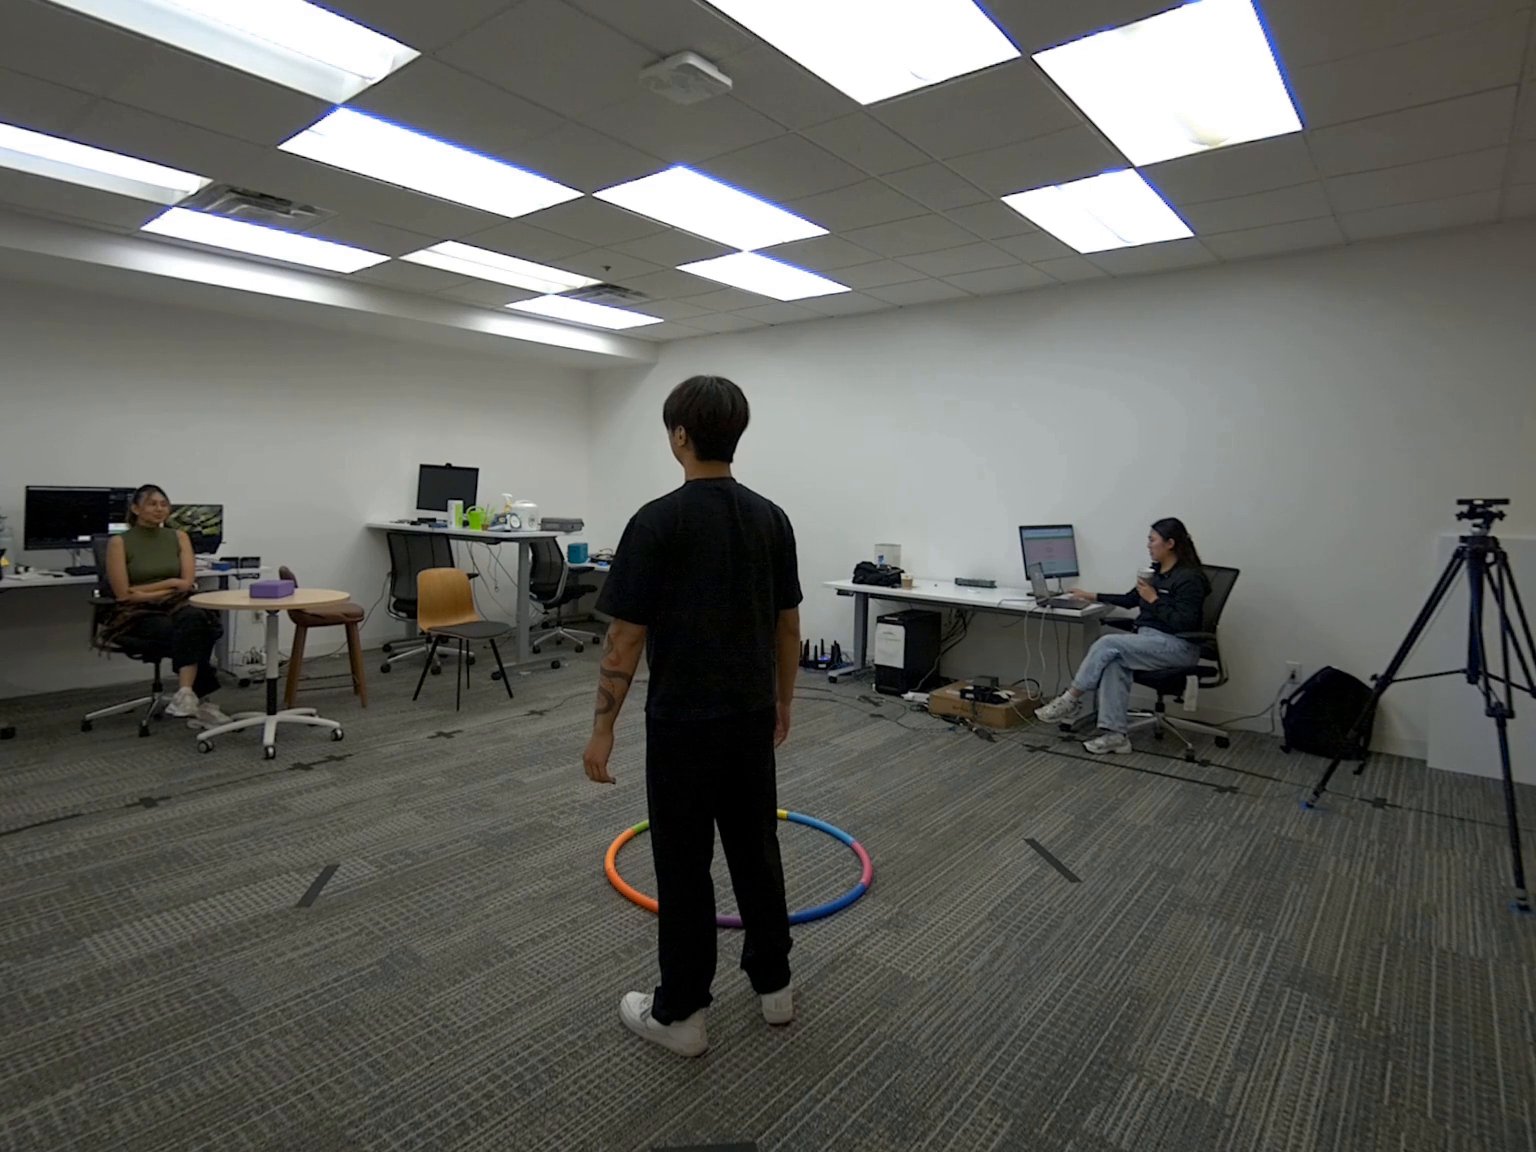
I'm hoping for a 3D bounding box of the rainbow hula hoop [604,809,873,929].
[{"bbox_3d":[-0.122,1.035,3.170,0.978,0.035,0.984,1,5,-2],"label":"rainbow hula hoop"}]
